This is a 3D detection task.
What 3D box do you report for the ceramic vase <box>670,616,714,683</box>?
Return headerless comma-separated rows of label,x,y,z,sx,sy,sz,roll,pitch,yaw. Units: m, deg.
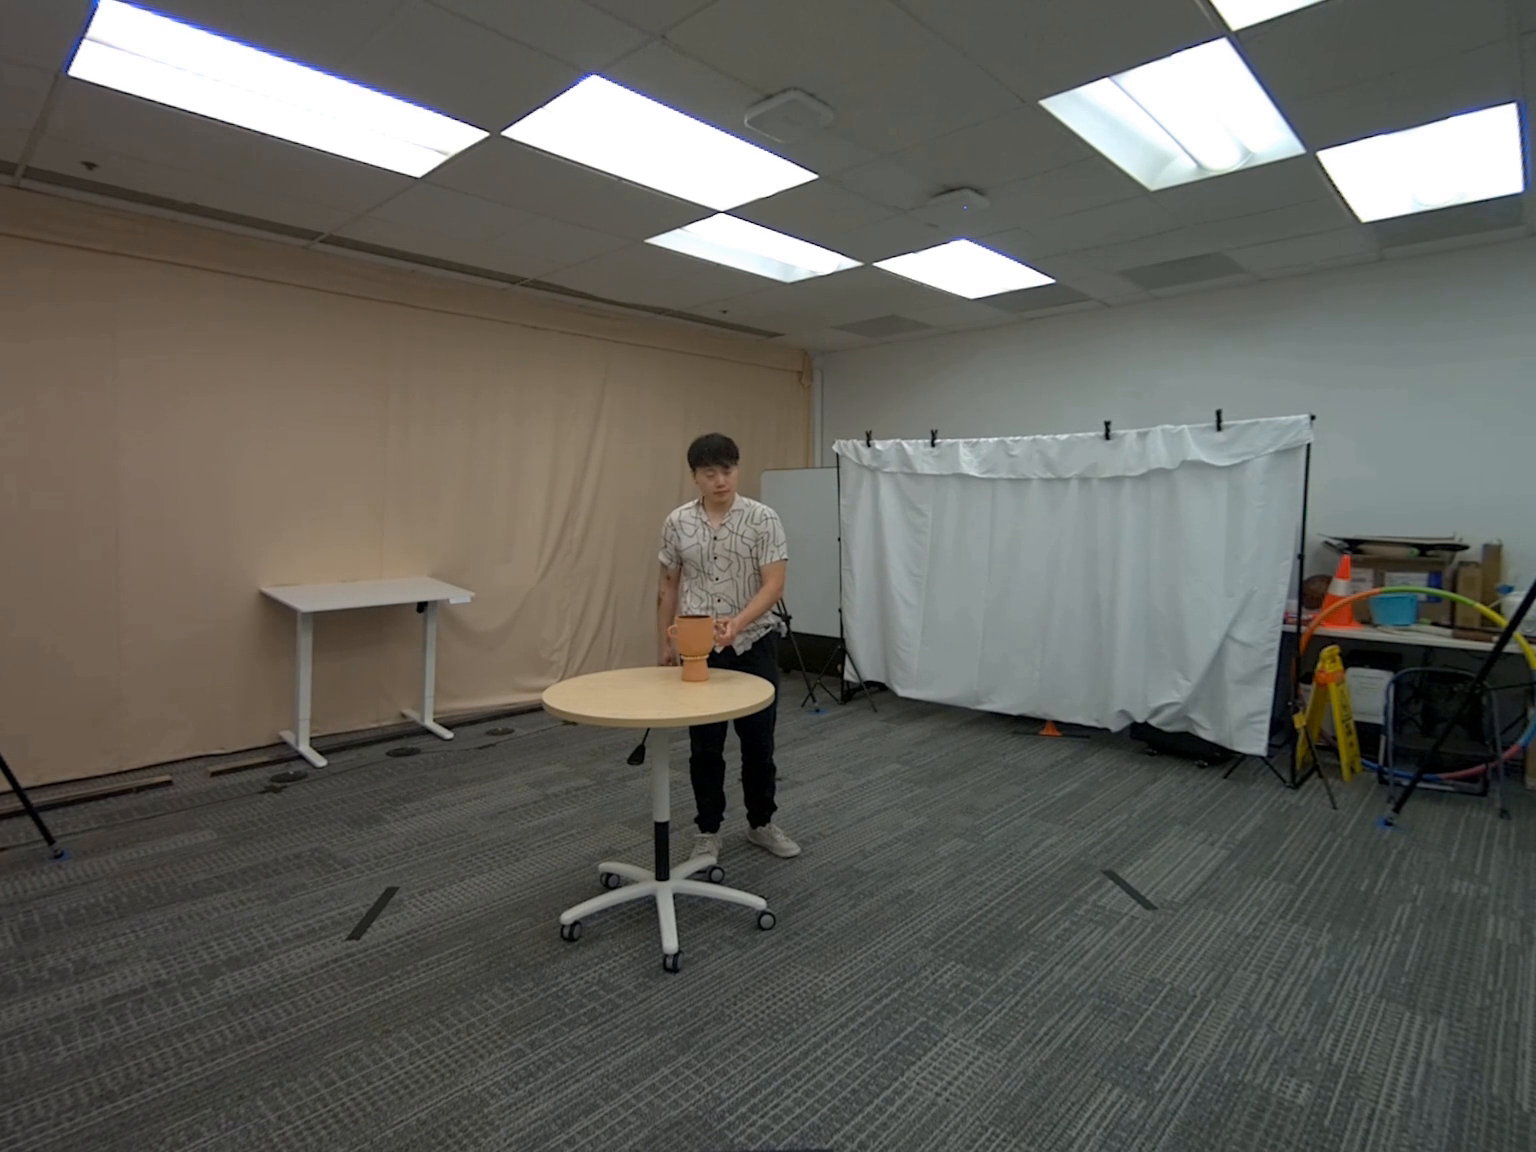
ceramic vase,-0.261,0.252,2.949,0.162,0.219,0.132,-1,4,16
